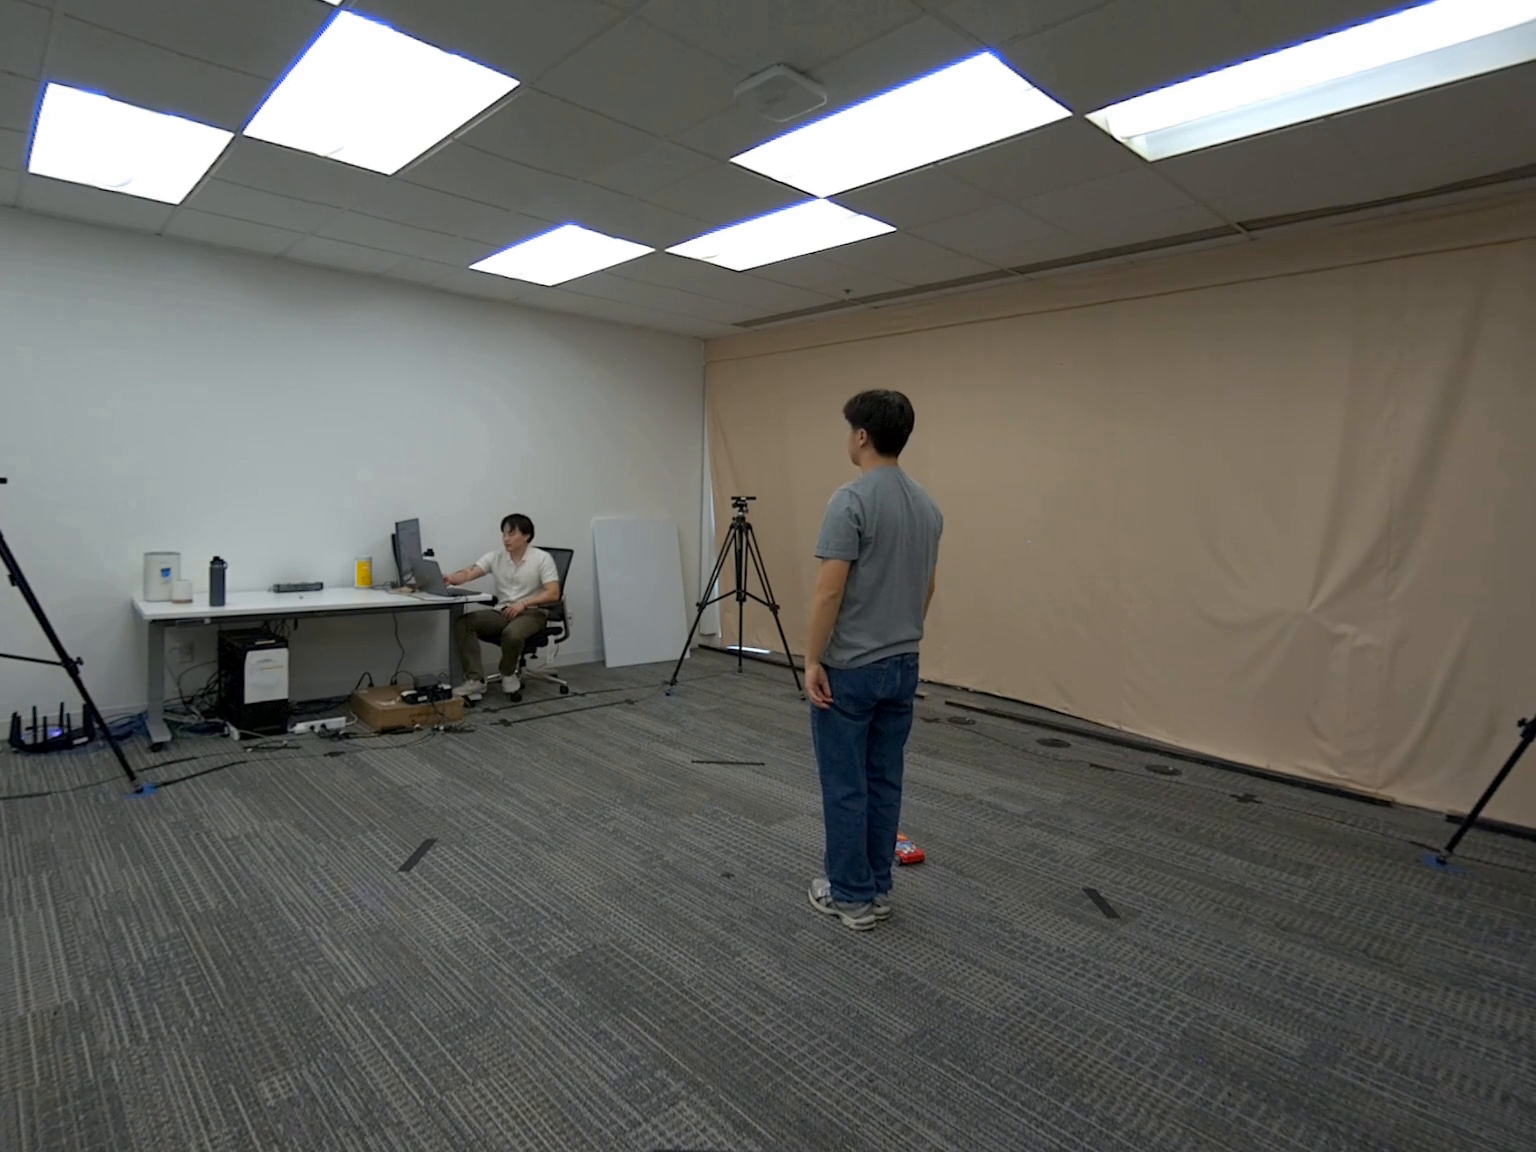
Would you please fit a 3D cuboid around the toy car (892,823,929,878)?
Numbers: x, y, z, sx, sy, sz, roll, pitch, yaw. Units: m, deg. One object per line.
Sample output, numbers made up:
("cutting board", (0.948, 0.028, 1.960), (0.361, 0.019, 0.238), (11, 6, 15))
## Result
("toy car", (0.500, 1.067, 3.343), (0.128, 0.082, 0.261), (1, 16, -22))
